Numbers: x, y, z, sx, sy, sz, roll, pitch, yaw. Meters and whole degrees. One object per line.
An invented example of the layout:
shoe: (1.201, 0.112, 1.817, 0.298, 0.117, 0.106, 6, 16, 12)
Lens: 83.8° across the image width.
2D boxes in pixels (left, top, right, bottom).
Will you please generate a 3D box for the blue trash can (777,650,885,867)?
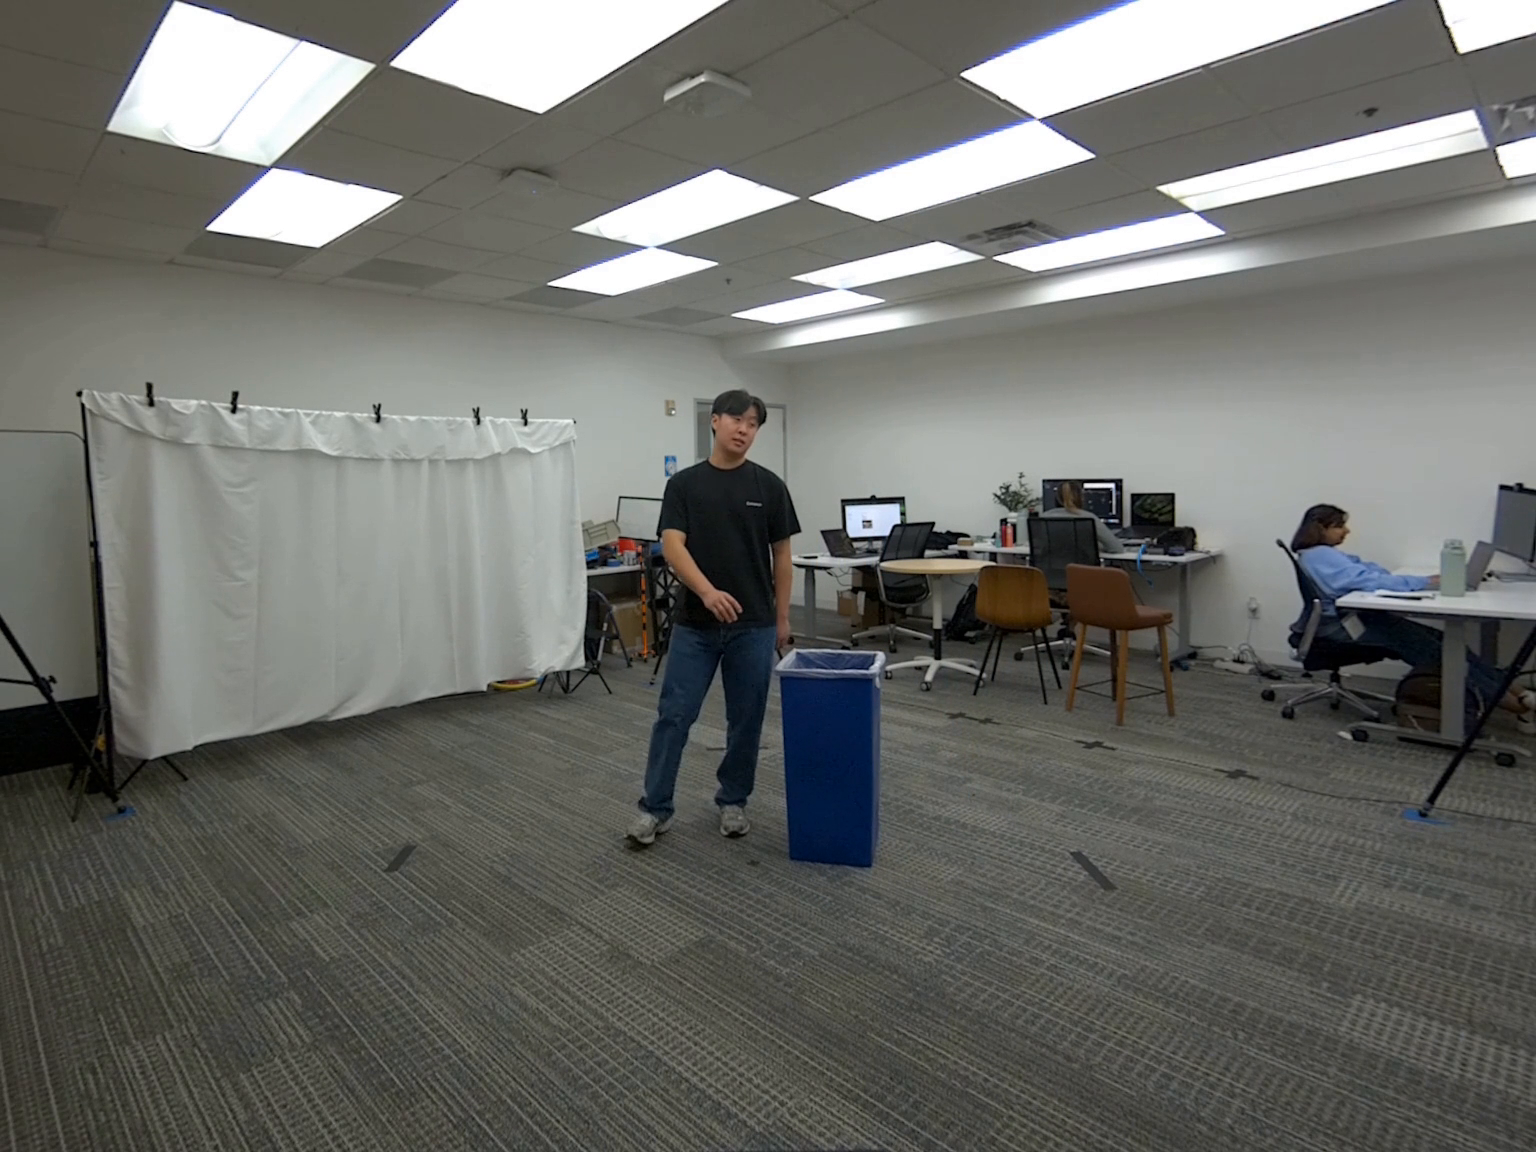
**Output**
blue trash can: (0.256, 0.667, 3.210, 0.379, 0.711, 0.374, -2, 4, 14)
